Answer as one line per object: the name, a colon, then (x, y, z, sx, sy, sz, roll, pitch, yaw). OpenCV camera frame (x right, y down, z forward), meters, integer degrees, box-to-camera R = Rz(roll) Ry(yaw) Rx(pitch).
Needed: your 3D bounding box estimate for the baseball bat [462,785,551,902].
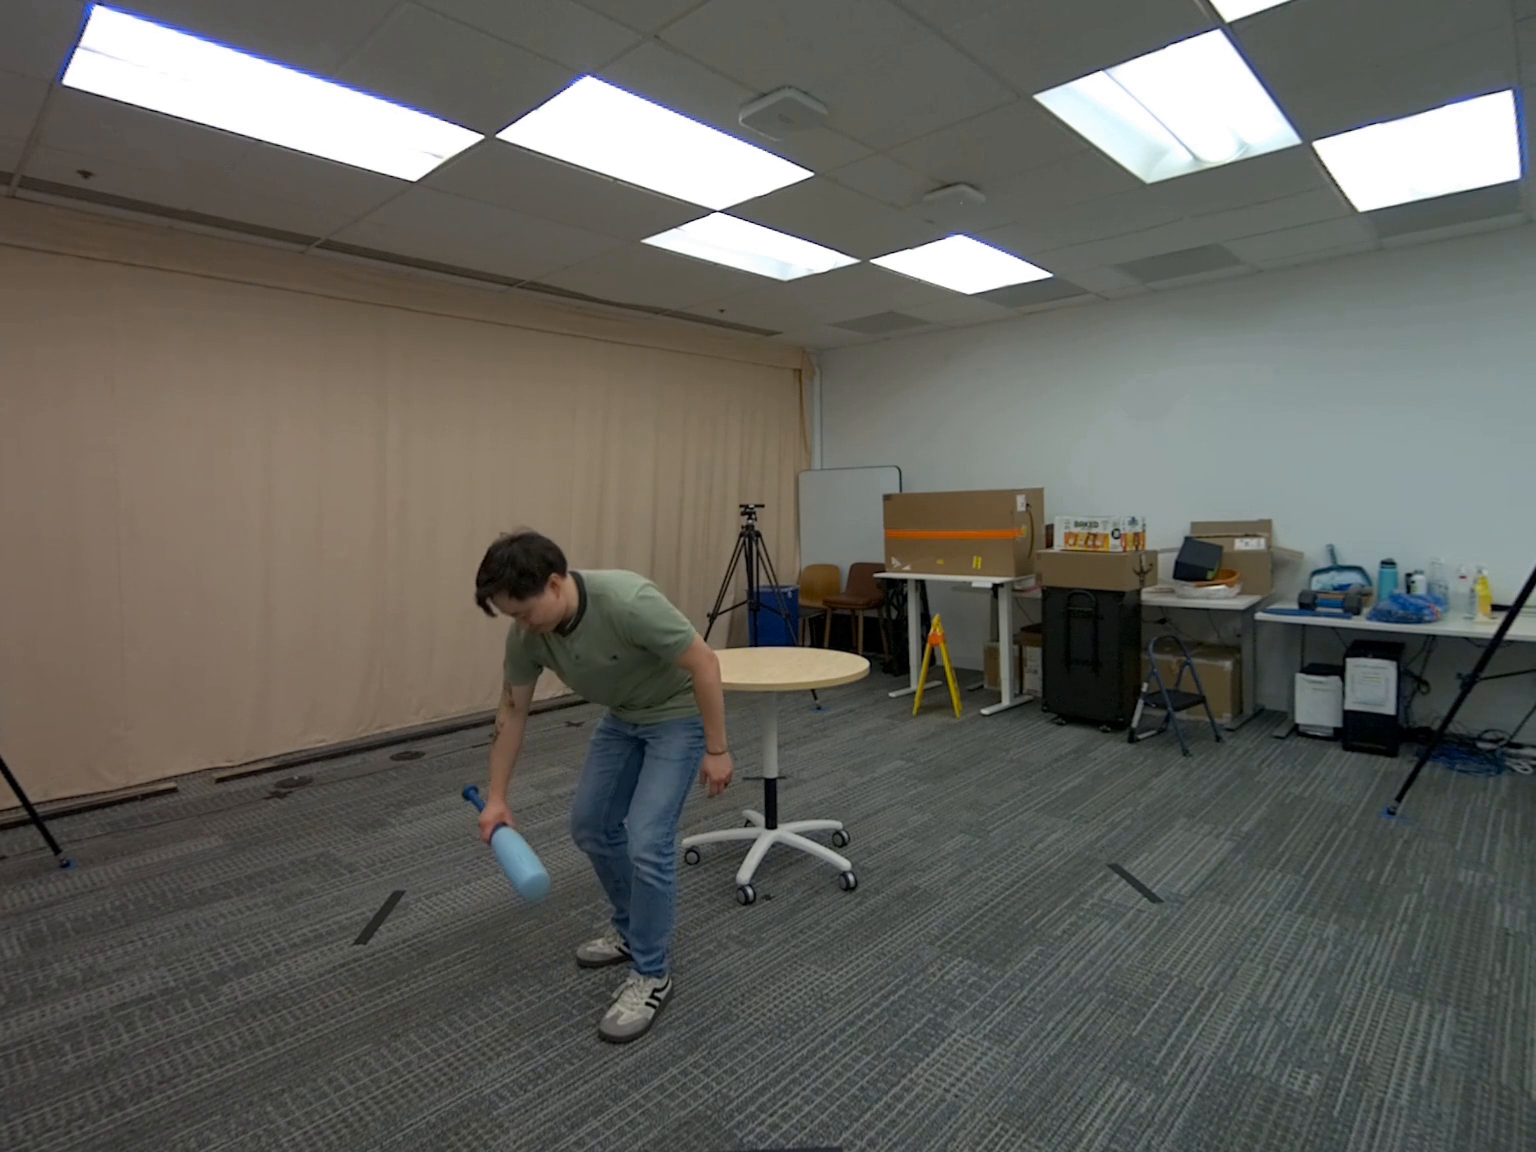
baseball bat: (-0.730, 0.721, 2.309, 0.086, 0.088, 0.563, -4, 14, -42)
